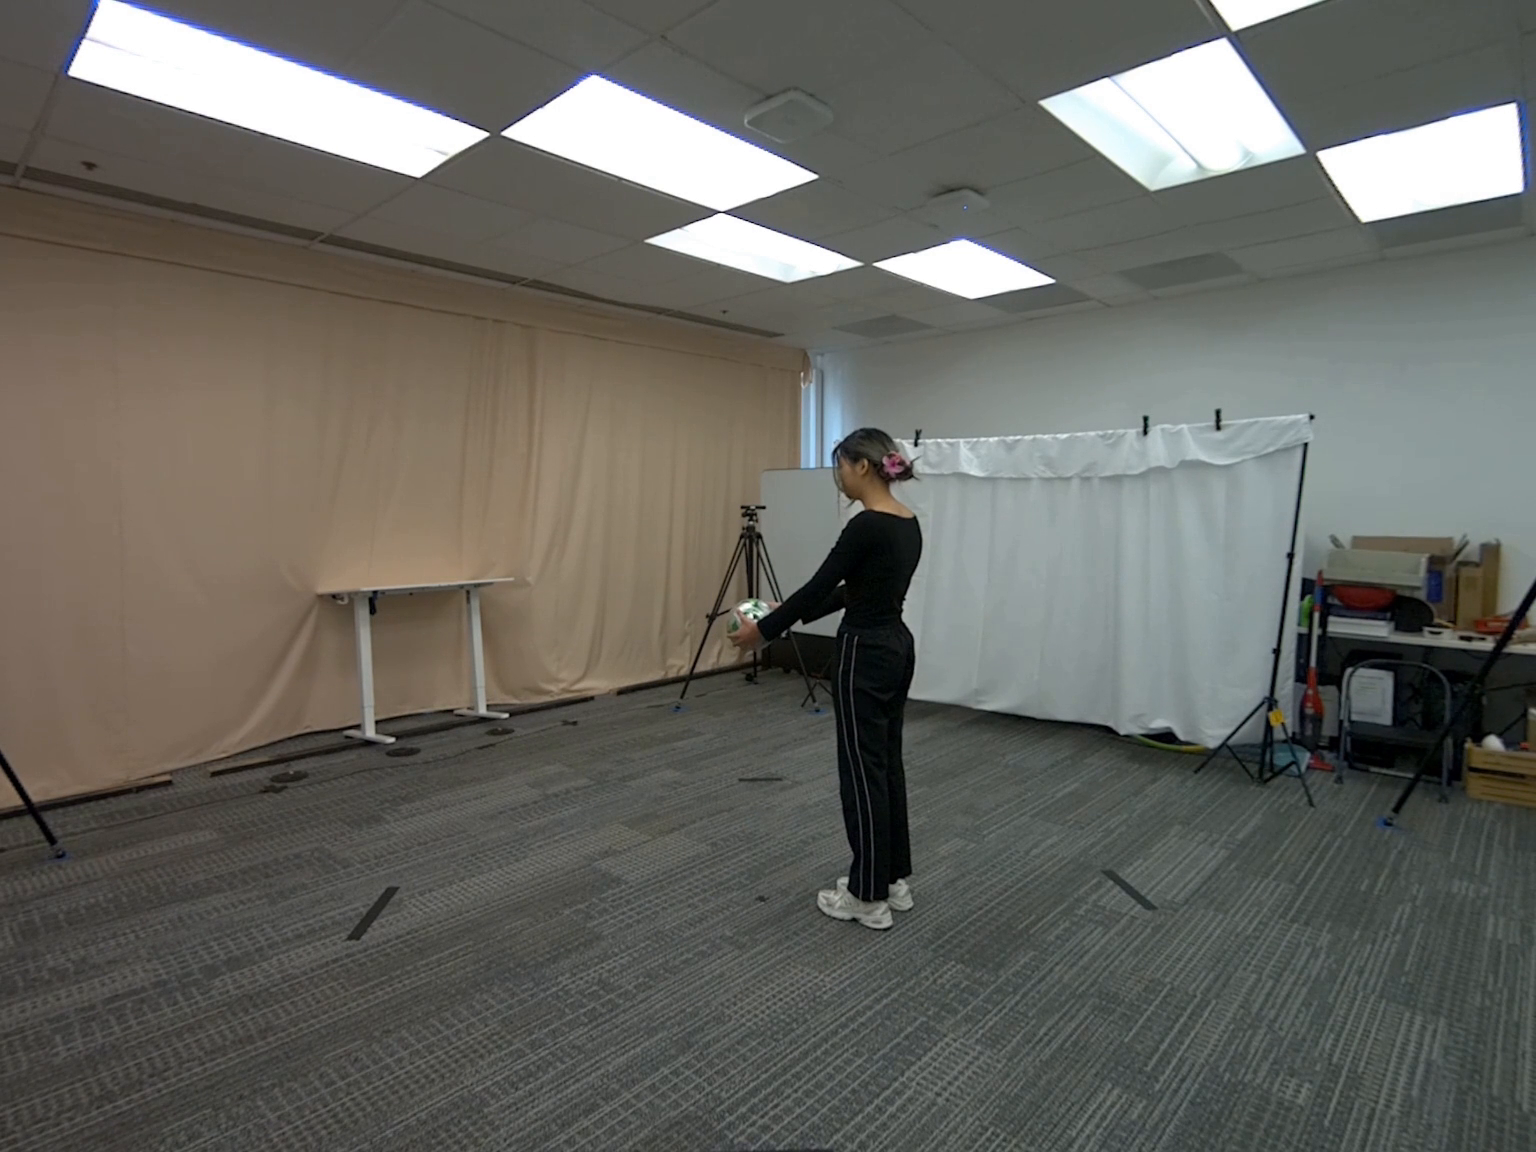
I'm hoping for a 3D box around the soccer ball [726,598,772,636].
[{"bbox_3d":[-0.047,0.170,3.029,0.187,0.187,0.188,0,4,-2],"label":"soccer ball"}]
